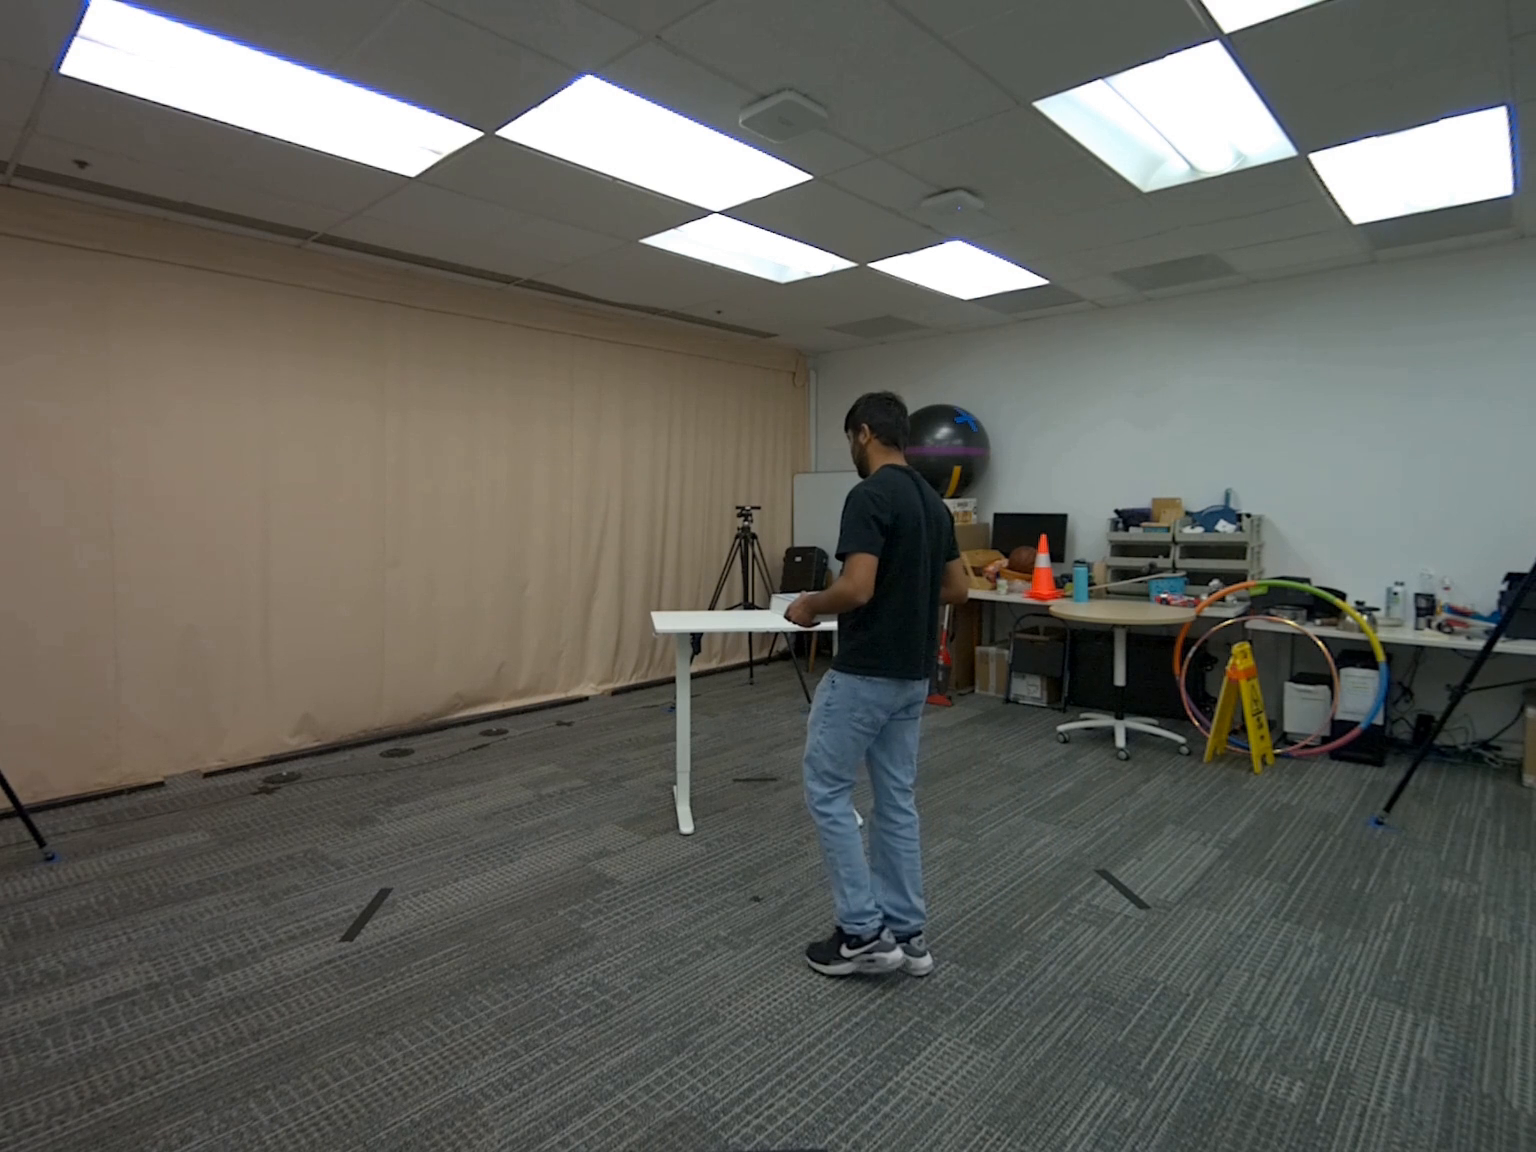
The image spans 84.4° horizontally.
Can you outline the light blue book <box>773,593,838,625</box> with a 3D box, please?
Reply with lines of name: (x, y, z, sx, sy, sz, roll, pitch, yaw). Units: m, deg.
light blue book: (0.180, 0.103, 2.735, 0.254, 0.059, 0.197, 0, 9, -30)
